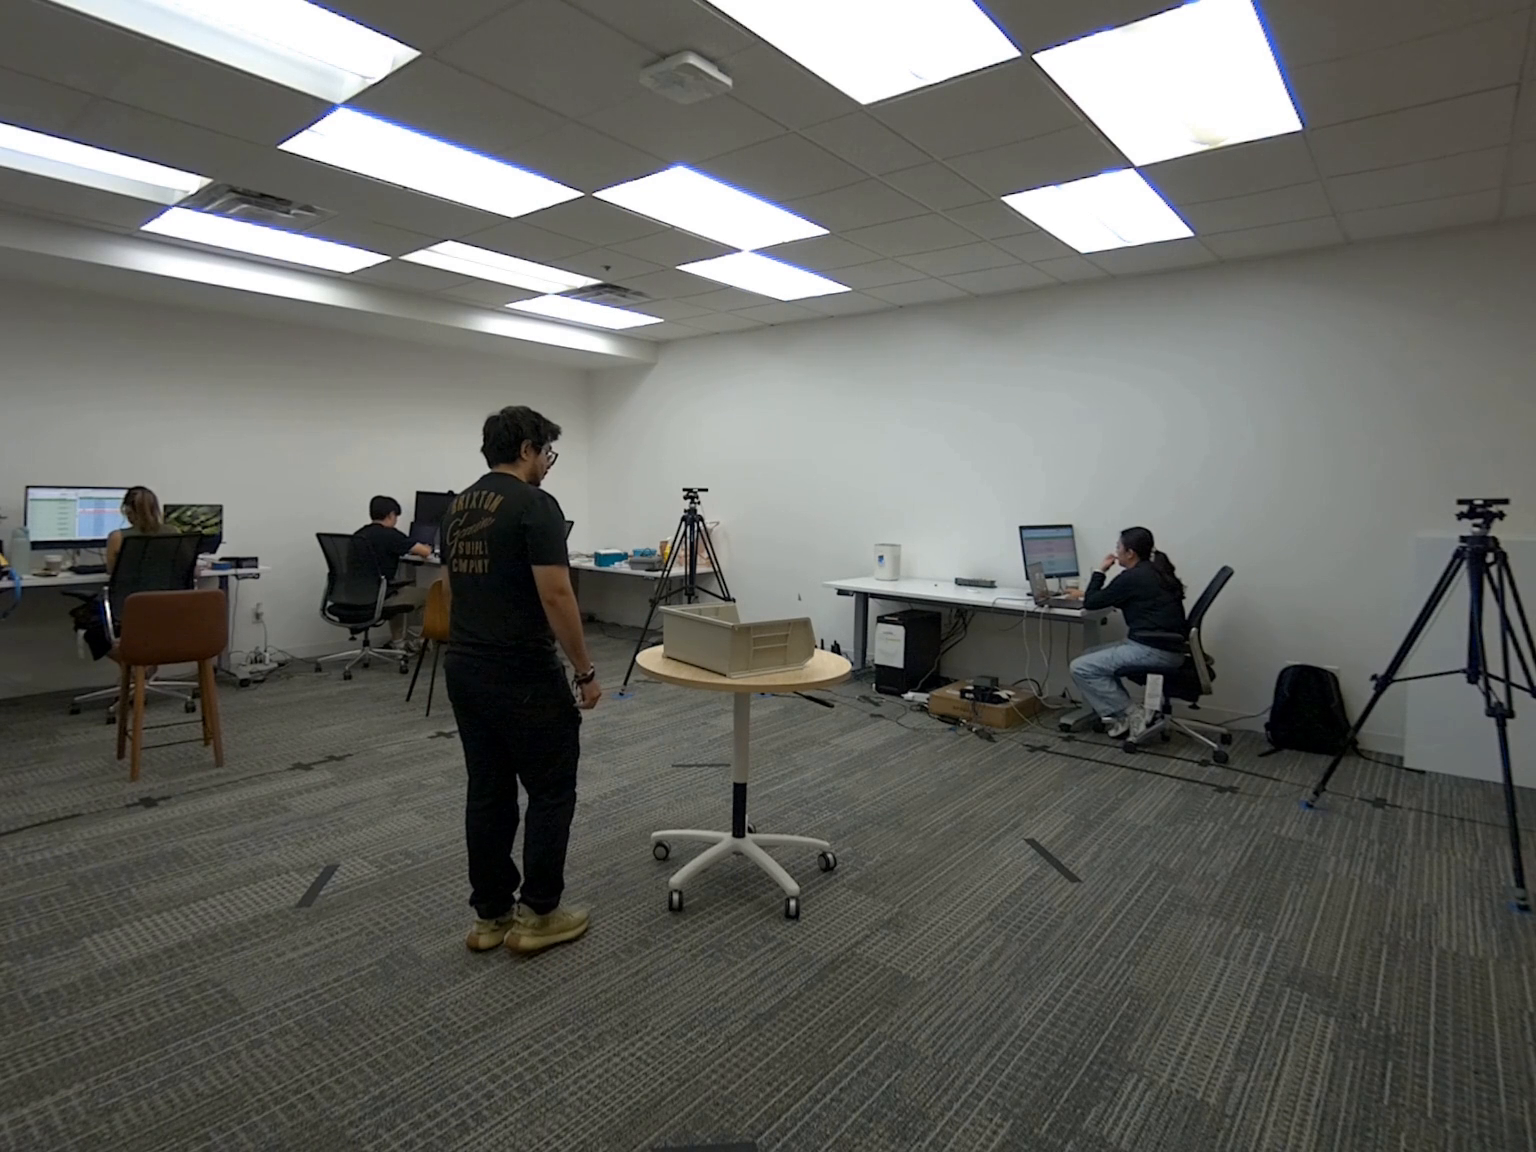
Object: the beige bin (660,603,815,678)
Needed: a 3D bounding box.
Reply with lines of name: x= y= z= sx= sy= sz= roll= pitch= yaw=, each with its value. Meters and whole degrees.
beige bin: x=-0.120 y=0.211 z=2.984 sx=0.366 sy=0.188 sz=0.437 roll=-4 pitch=8 yaw=-39
